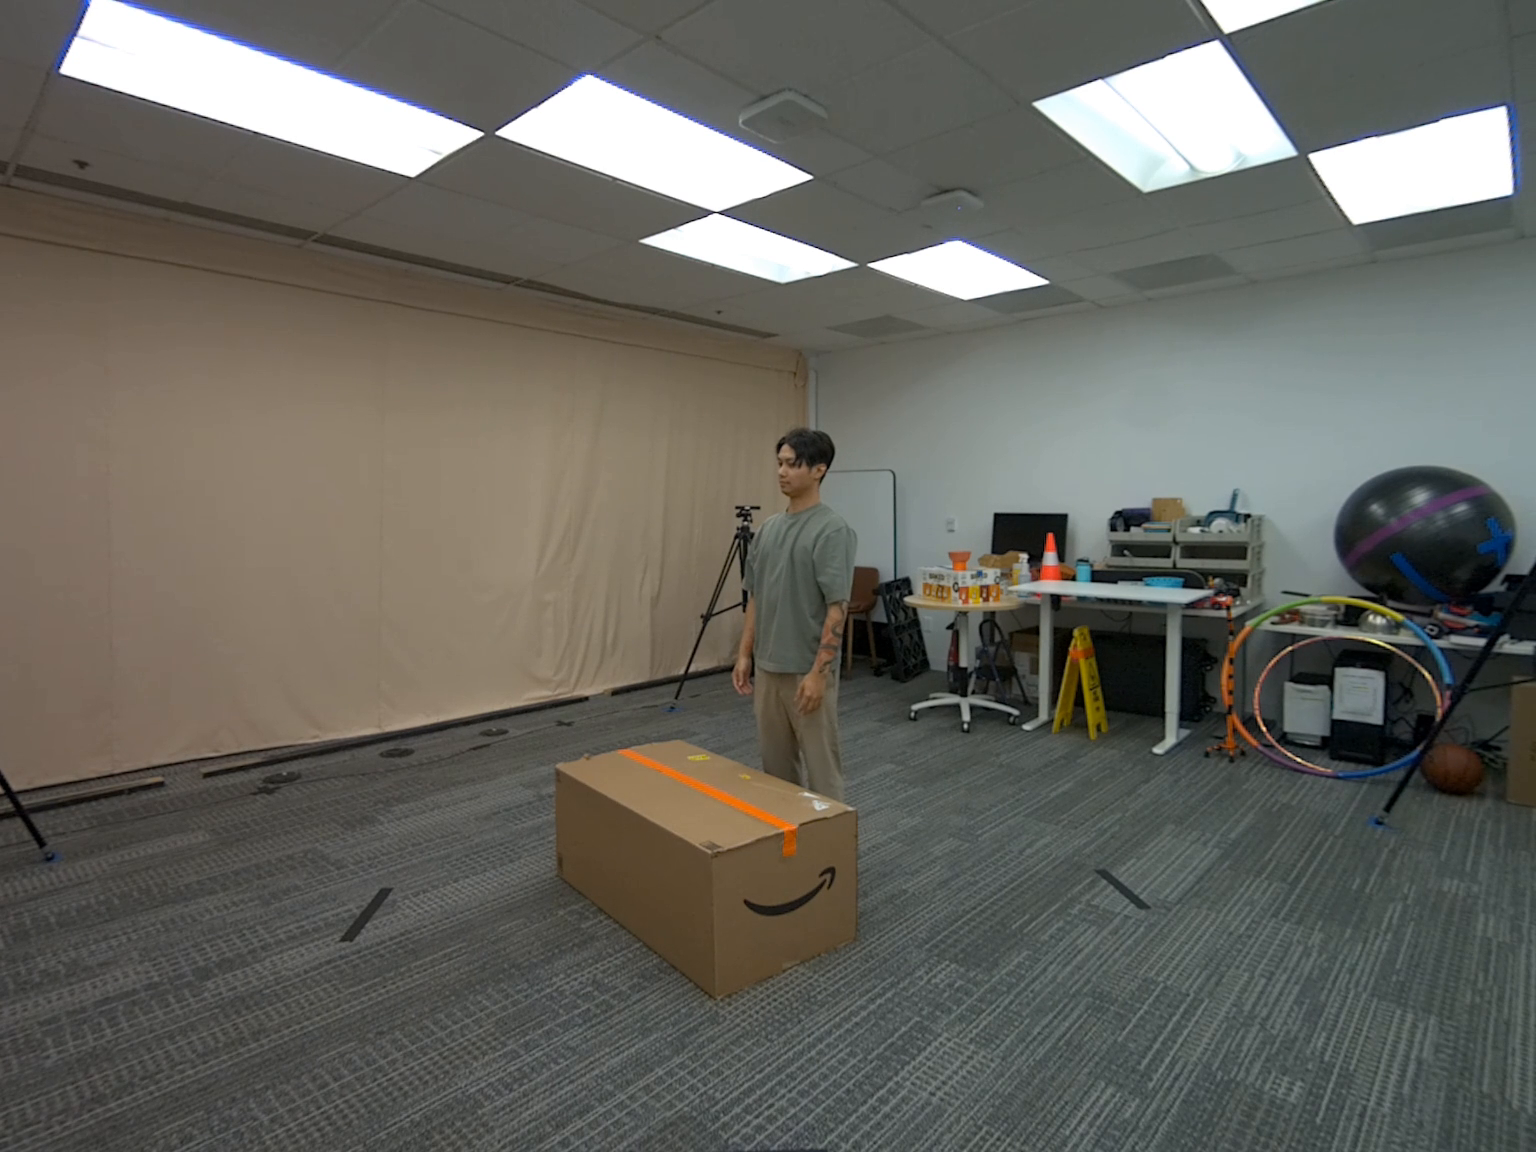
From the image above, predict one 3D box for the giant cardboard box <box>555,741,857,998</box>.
[{"bbox_3d":[-0.258,0.935,2.933,0.560,0.425,1.059,-3,5,-38],"label":"giant cardboard box"}]
